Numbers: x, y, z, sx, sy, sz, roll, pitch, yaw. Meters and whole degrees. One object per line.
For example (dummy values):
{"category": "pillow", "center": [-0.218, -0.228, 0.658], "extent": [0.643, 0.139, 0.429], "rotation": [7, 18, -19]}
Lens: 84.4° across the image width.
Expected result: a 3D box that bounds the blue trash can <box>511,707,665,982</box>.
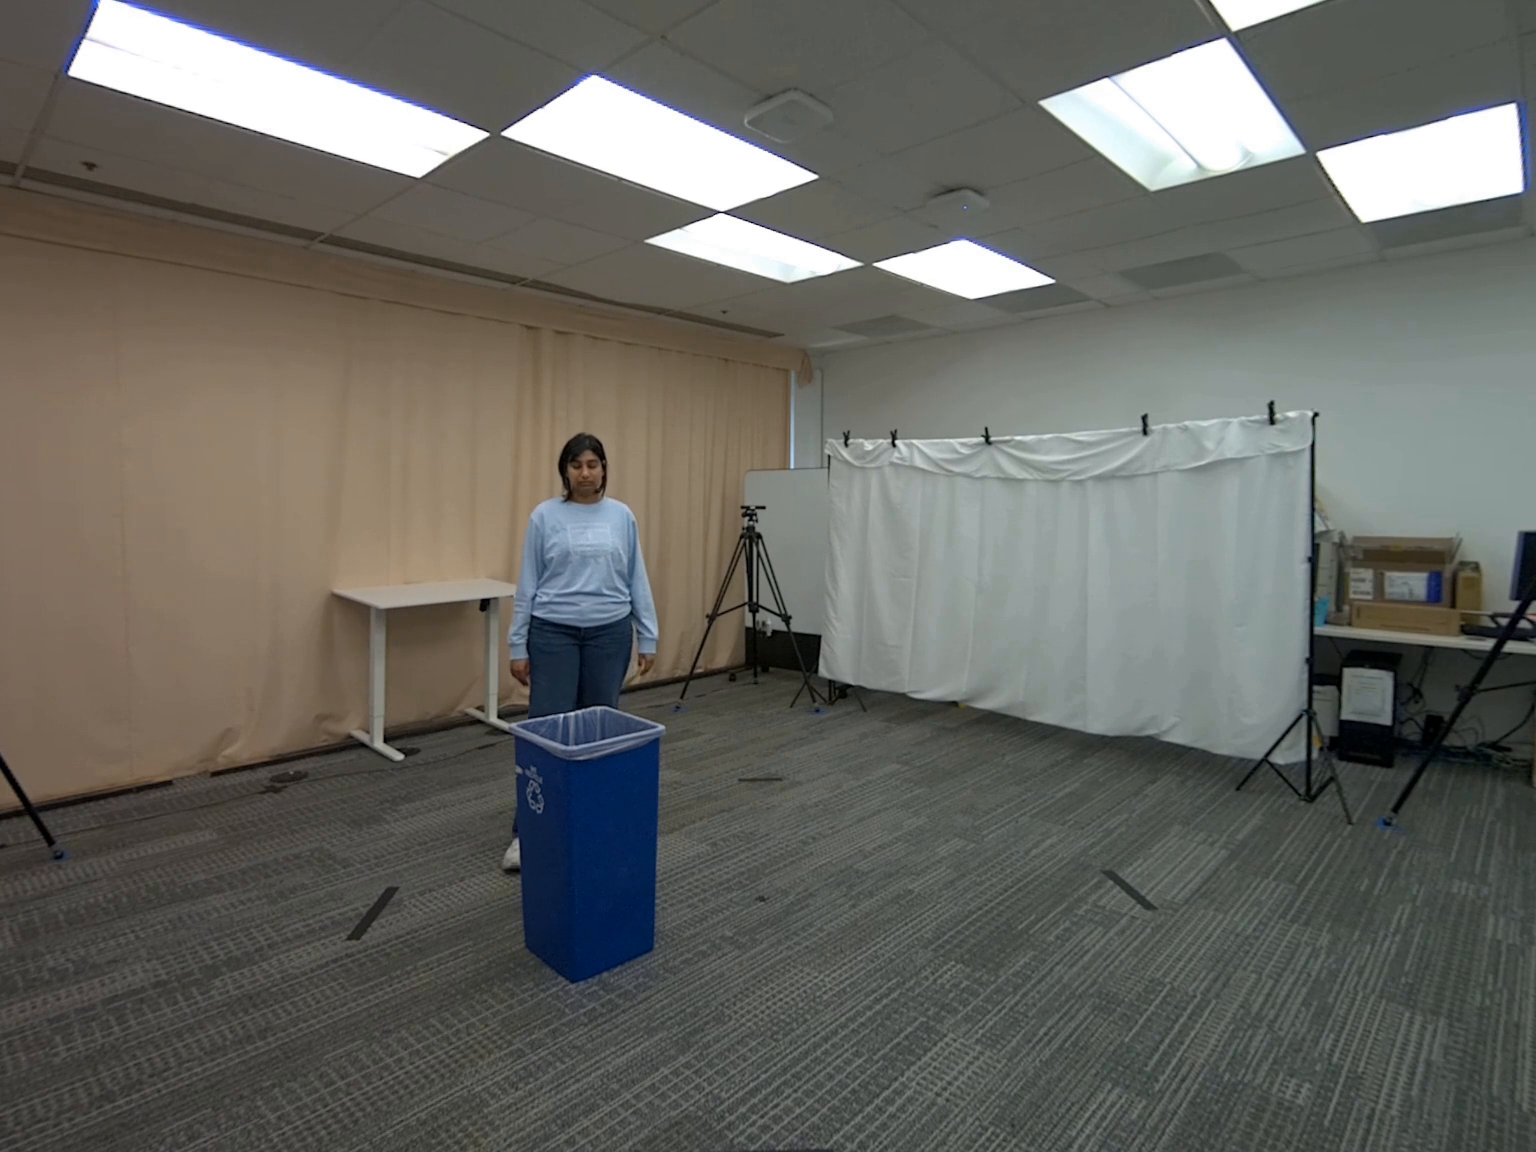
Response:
{"category": "blue trash can", "center": [-0.555, 0.822, 2.635], "extent": [0.366, 0.712, 0.386], "rotation": [-4, 5, -43]}
